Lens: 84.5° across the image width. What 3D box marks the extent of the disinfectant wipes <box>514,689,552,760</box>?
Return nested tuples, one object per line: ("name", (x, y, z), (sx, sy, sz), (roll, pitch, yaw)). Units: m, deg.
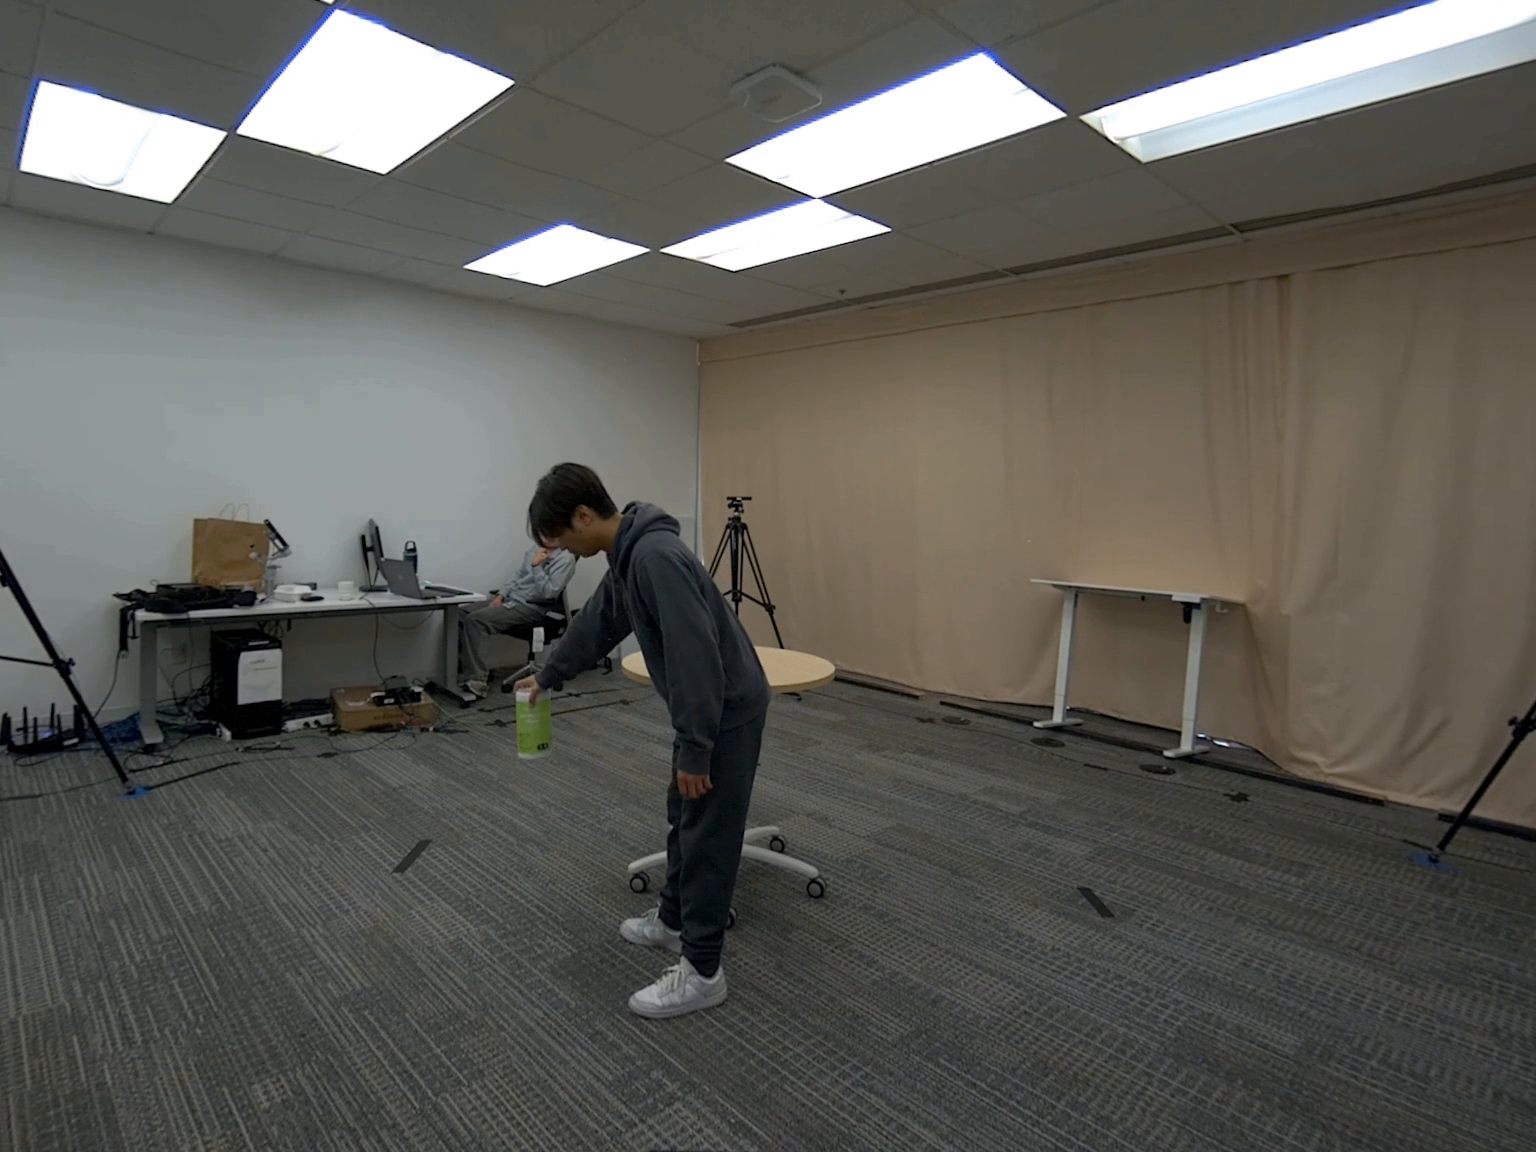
("disinfectant wipes", (-0.766, 0.477, 2.729), (0.118, 0.217, 0.118), (-2, 2, -1))
